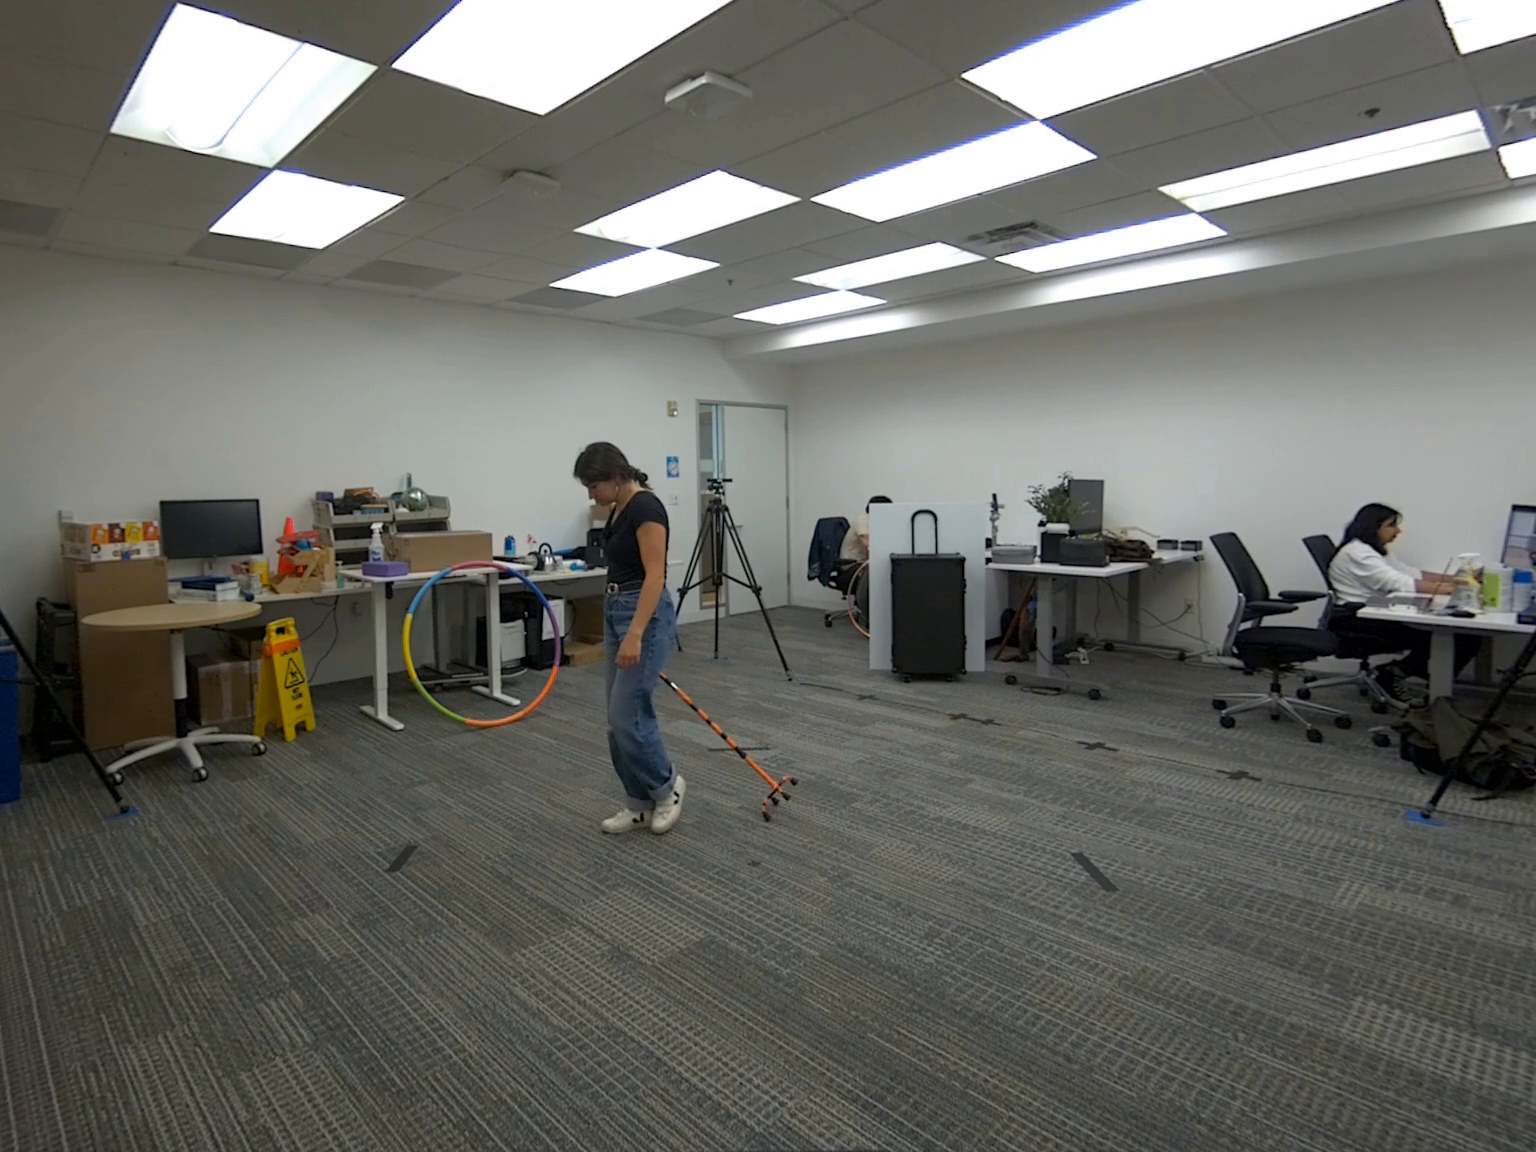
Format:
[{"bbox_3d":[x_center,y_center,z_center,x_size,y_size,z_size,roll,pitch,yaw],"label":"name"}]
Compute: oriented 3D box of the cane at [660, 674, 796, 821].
[{"bbox_3d":[-0.266,0.629,3.636,0.920,0.151,0.204,43,12,9],"label":"cane"}]
